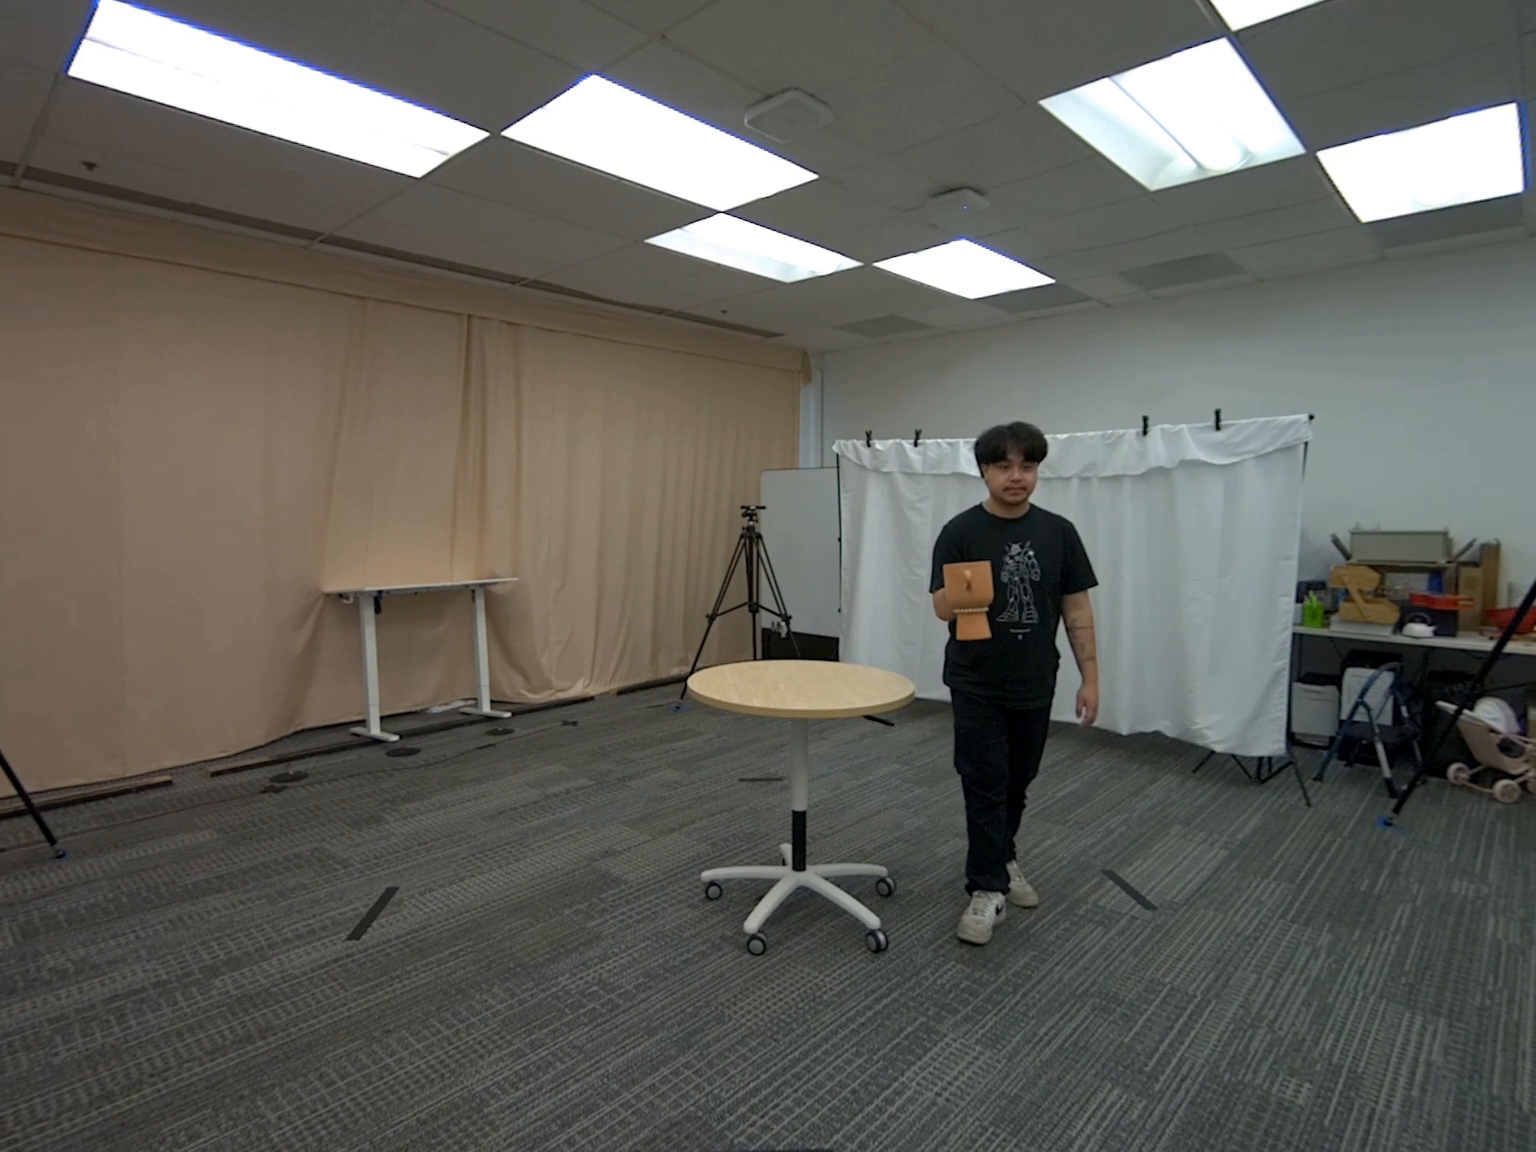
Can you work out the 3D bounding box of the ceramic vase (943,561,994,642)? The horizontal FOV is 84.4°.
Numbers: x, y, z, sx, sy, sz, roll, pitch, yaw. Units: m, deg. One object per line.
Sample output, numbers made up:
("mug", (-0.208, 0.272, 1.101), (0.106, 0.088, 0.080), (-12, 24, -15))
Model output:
("ceramic vase", (0.587, 0.073, 2.459), (0.154, 0.220, 0.138), (-4, -1, -39))
